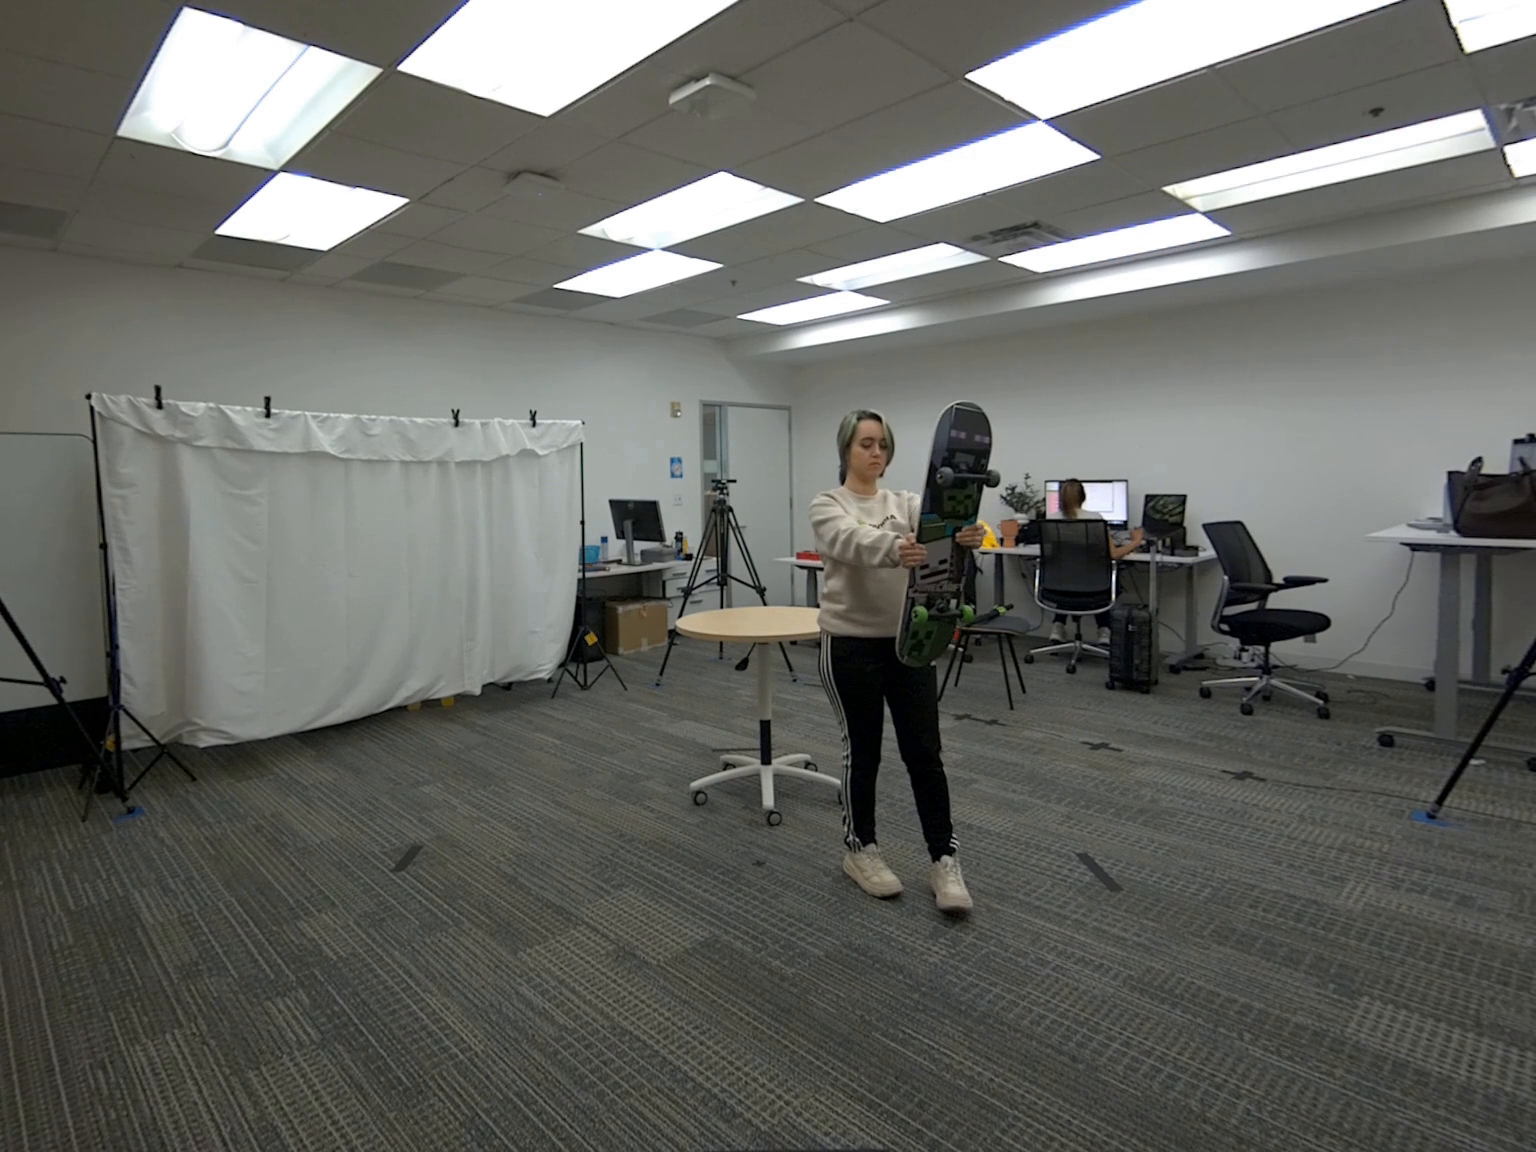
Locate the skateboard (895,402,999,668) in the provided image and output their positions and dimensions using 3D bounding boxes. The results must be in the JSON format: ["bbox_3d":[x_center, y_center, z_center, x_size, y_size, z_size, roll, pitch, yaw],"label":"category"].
[{"bbox_3d":[0.512,-0.088,2.394,0.189,0.775,0.114,-2,18,-23],"label":"skateboard"}]
